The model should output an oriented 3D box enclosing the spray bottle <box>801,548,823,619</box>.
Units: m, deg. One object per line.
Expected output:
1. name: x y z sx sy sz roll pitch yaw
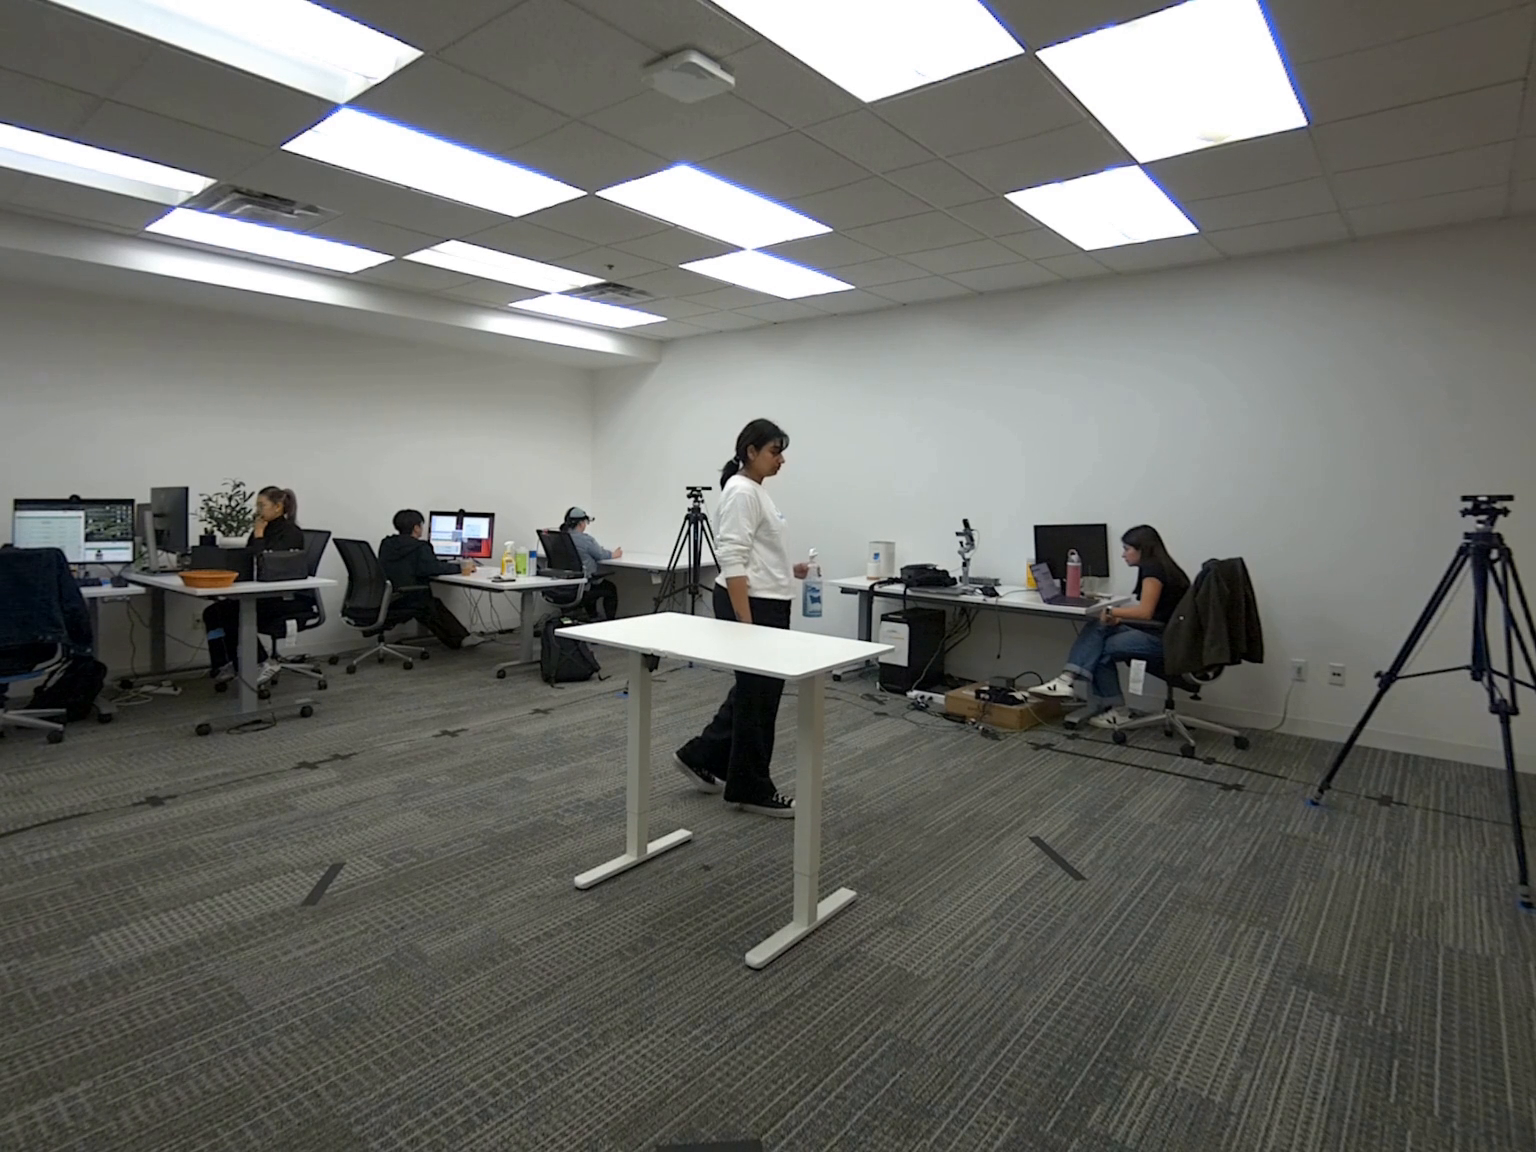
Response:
1. spray bottle: 0.193 0.032 3.728 0.087 0.297 0.090 0 0 -44
